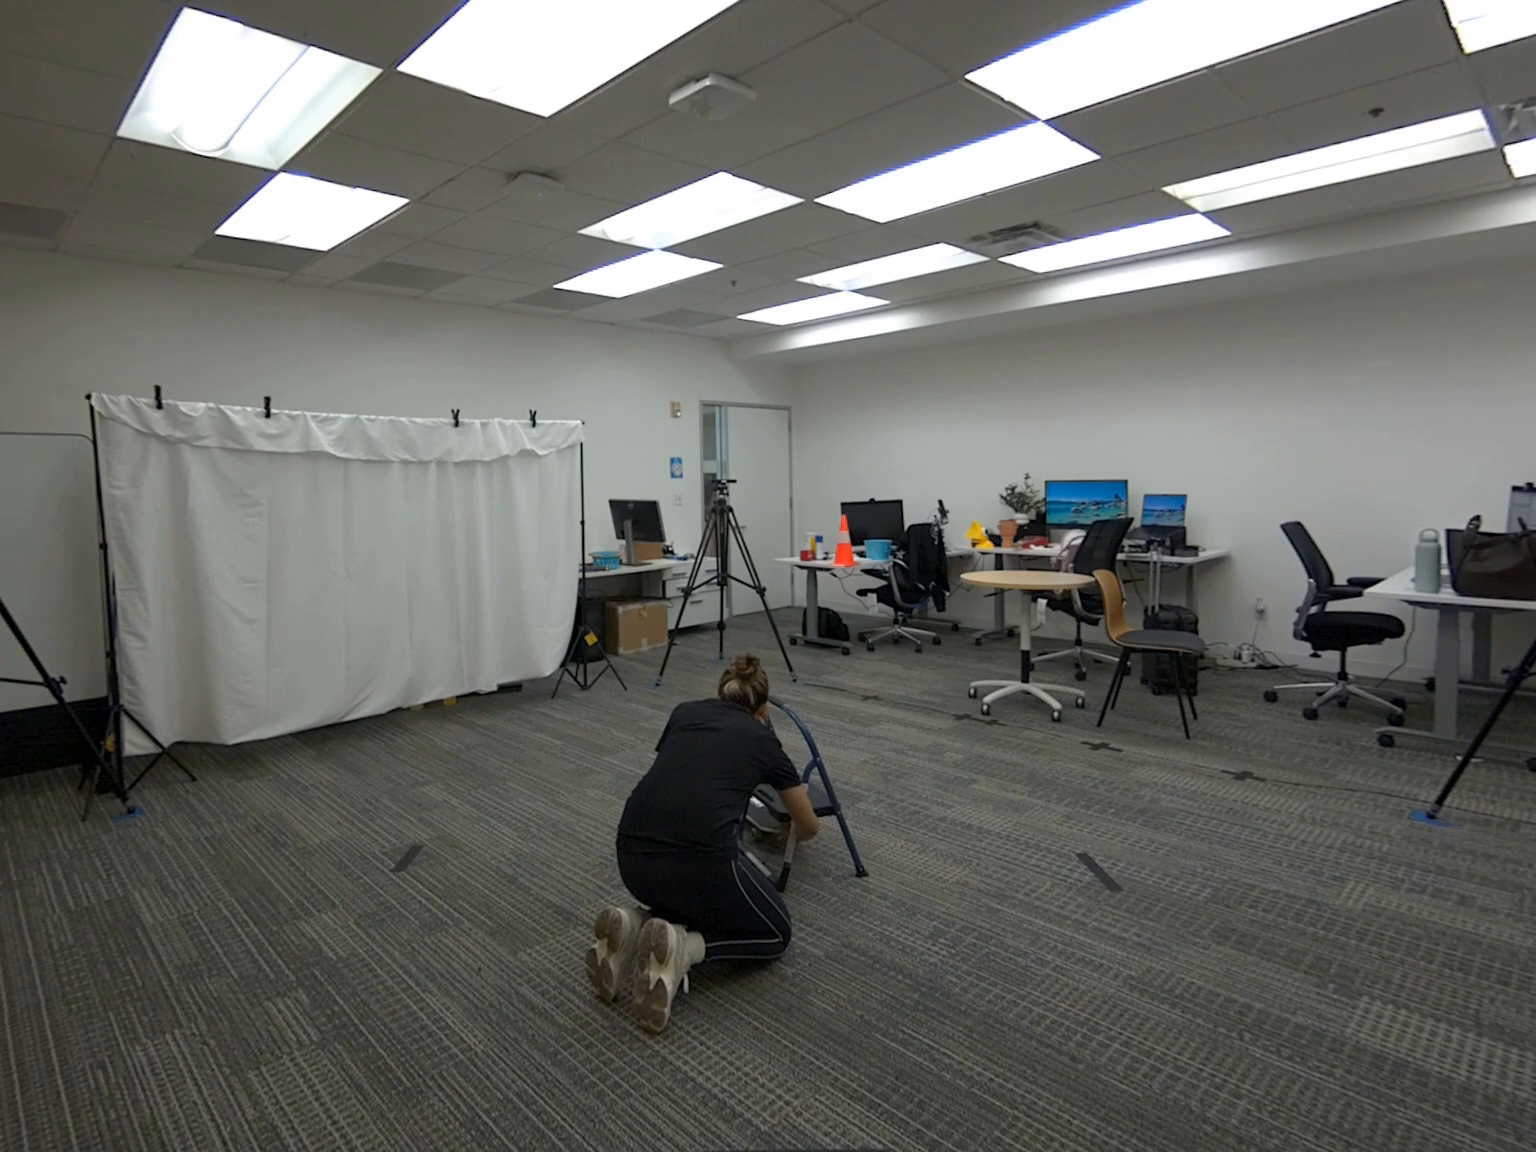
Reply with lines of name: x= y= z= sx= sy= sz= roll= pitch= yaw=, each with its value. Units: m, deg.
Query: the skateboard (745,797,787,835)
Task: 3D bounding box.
skateboard: x=-0.048 y=0.952 z=3.512 sx=0.189 sy=0.110 sz=0.803 roll=-1 pitch=5 yaw=-24
